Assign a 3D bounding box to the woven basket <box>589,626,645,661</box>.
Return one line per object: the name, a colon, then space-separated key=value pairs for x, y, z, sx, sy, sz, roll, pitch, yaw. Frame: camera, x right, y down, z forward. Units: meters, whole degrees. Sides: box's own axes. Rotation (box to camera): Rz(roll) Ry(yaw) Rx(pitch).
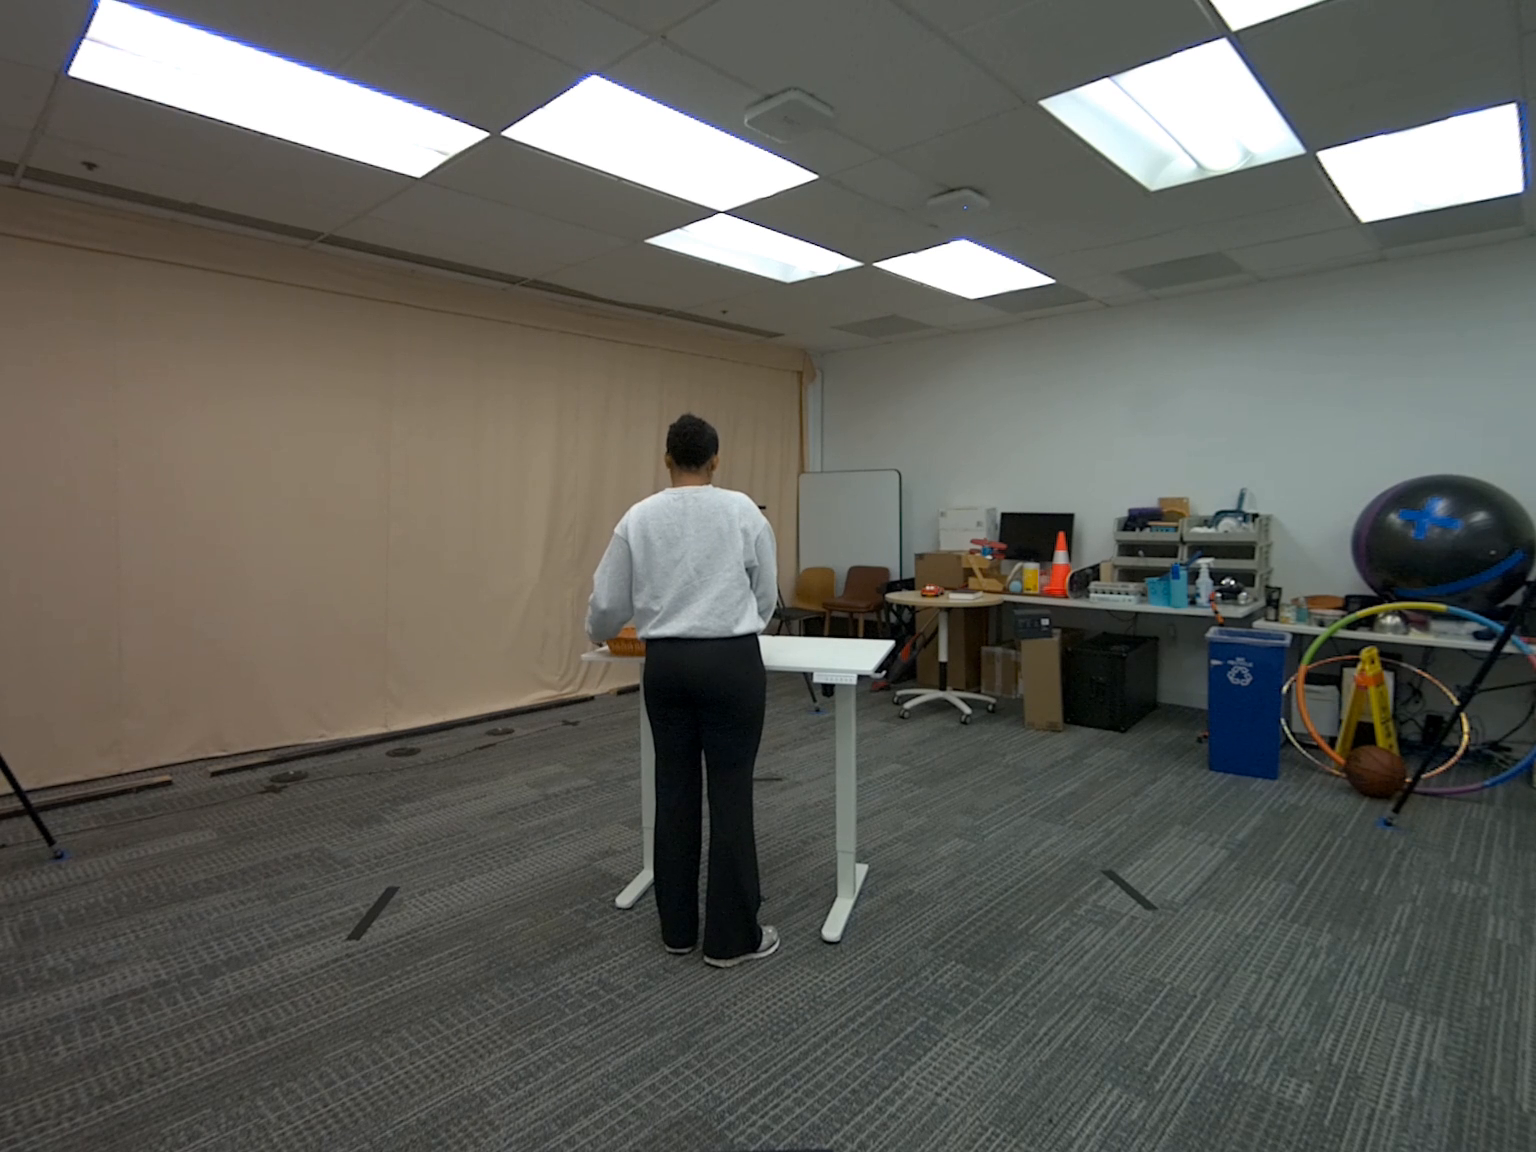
woven basket: x=-0.403 y=0.232 z=2.937 sx=0.359 sy=0.073 sz=0.246 roll=0 pitch=4 yaw=26
